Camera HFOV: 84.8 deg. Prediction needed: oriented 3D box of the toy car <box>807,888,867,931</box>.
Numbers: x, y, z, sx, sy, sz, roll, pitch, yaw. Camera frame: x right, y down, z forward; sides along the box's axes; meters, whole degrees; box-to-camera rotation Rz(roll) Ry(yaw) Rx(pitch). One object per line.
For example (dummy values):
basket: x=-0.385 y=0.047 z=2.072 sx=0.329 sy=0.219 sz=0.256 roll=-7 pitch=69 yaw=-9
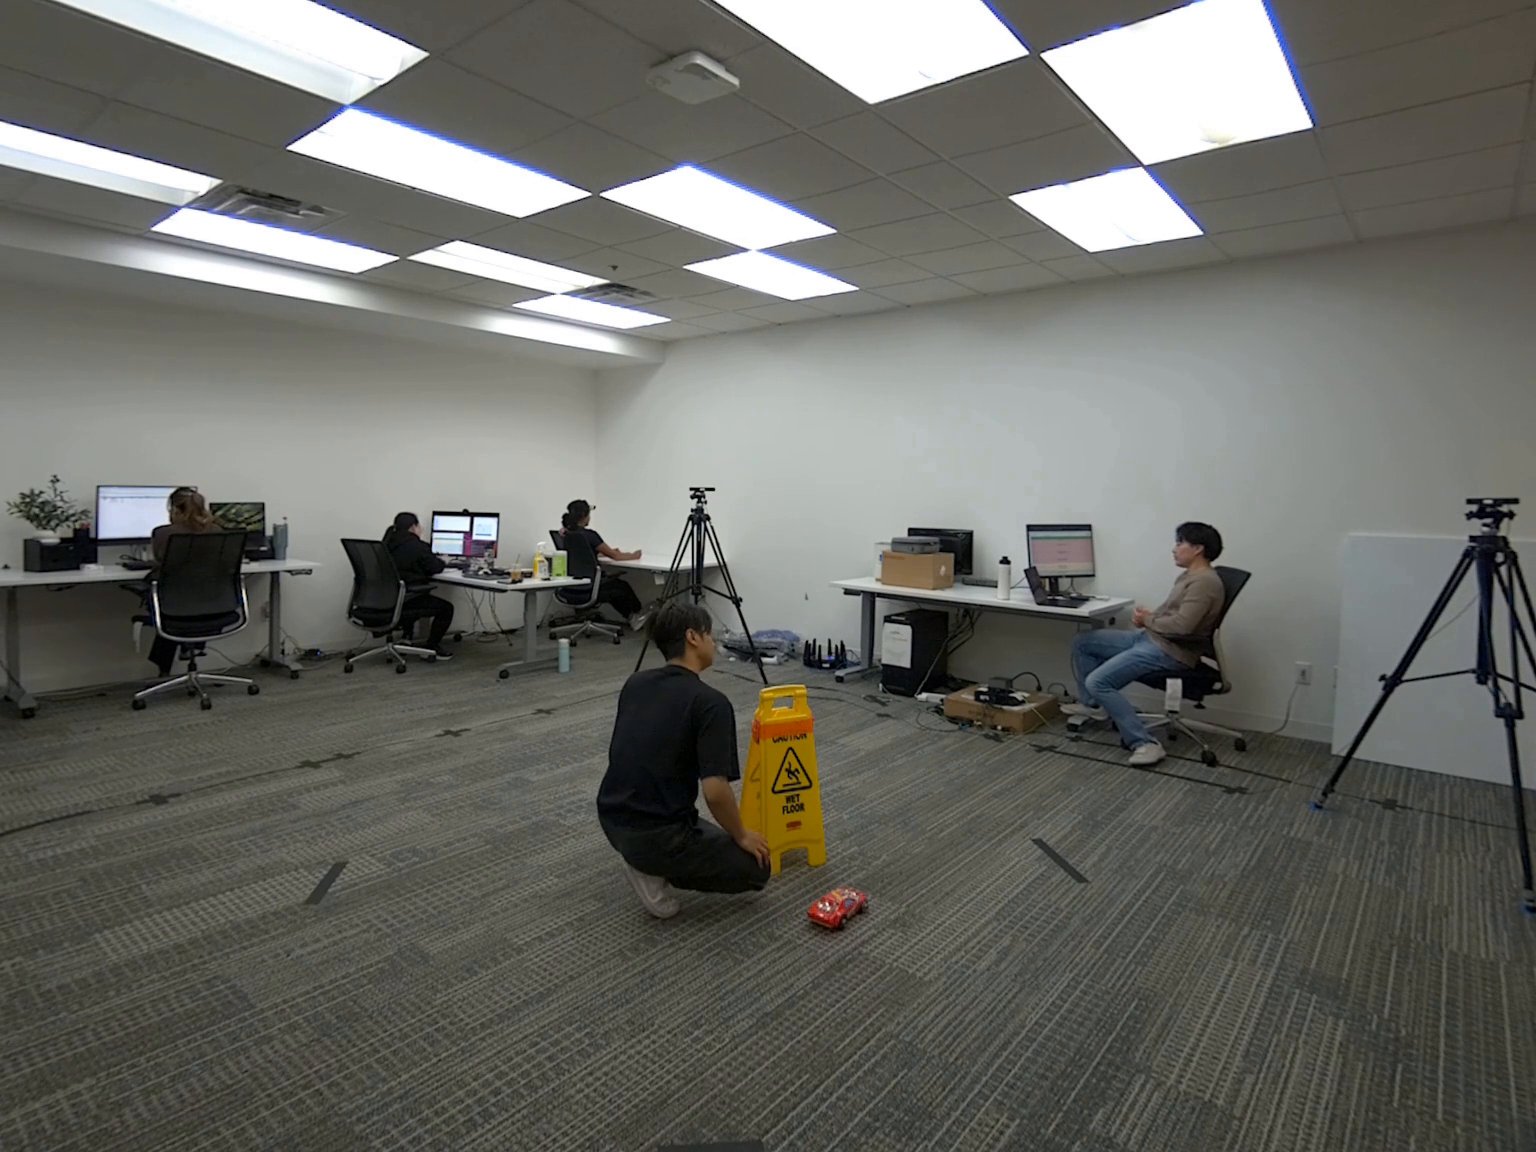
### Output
toy car: x=0.213 y=1.081 z=2.760 sx=0.135 sy=0.083 sz=0.245 roll=6 pitch=-4 yaw=37
